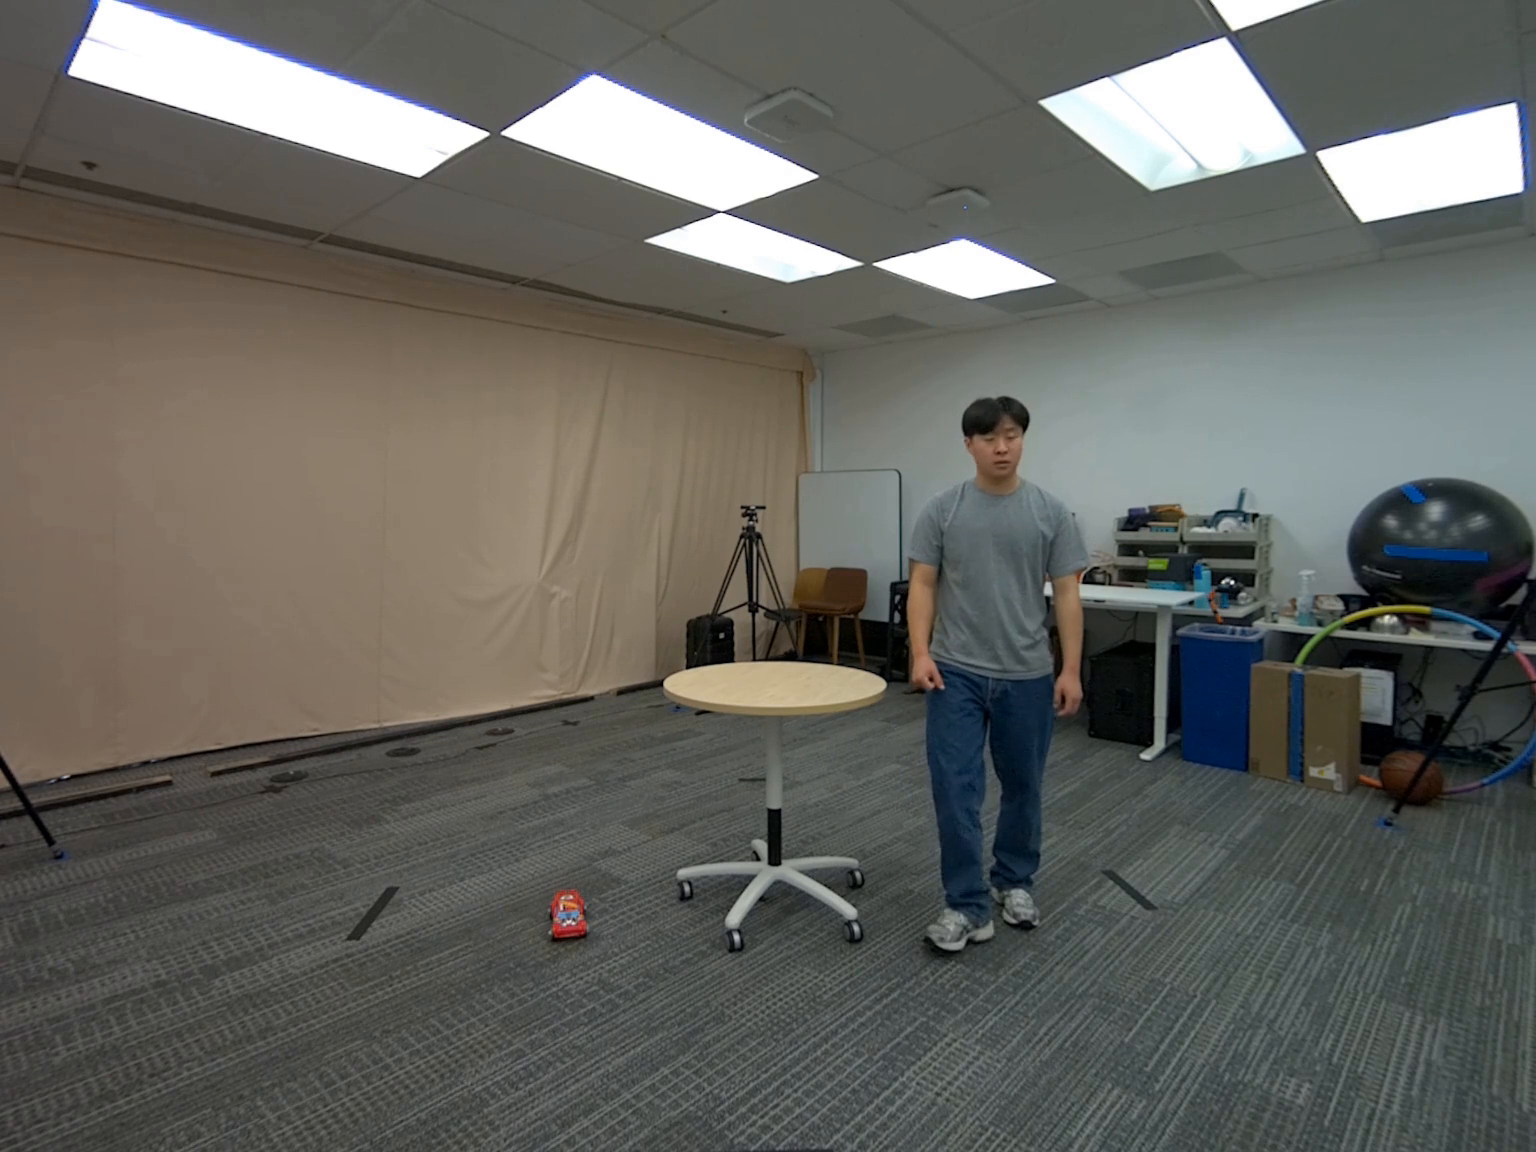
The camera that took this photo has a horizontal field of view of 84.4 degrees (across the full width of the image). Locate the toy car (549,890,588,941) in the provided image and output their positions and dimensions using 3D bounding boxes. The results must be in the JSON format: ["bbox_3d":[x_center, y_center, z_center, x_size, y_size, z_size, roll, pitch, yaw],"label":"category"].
[{"bbox_3d":[-0.669,1.136,2.808,0.128,0.082,0.260,-2,16,-14],"label":"toy car"}]
